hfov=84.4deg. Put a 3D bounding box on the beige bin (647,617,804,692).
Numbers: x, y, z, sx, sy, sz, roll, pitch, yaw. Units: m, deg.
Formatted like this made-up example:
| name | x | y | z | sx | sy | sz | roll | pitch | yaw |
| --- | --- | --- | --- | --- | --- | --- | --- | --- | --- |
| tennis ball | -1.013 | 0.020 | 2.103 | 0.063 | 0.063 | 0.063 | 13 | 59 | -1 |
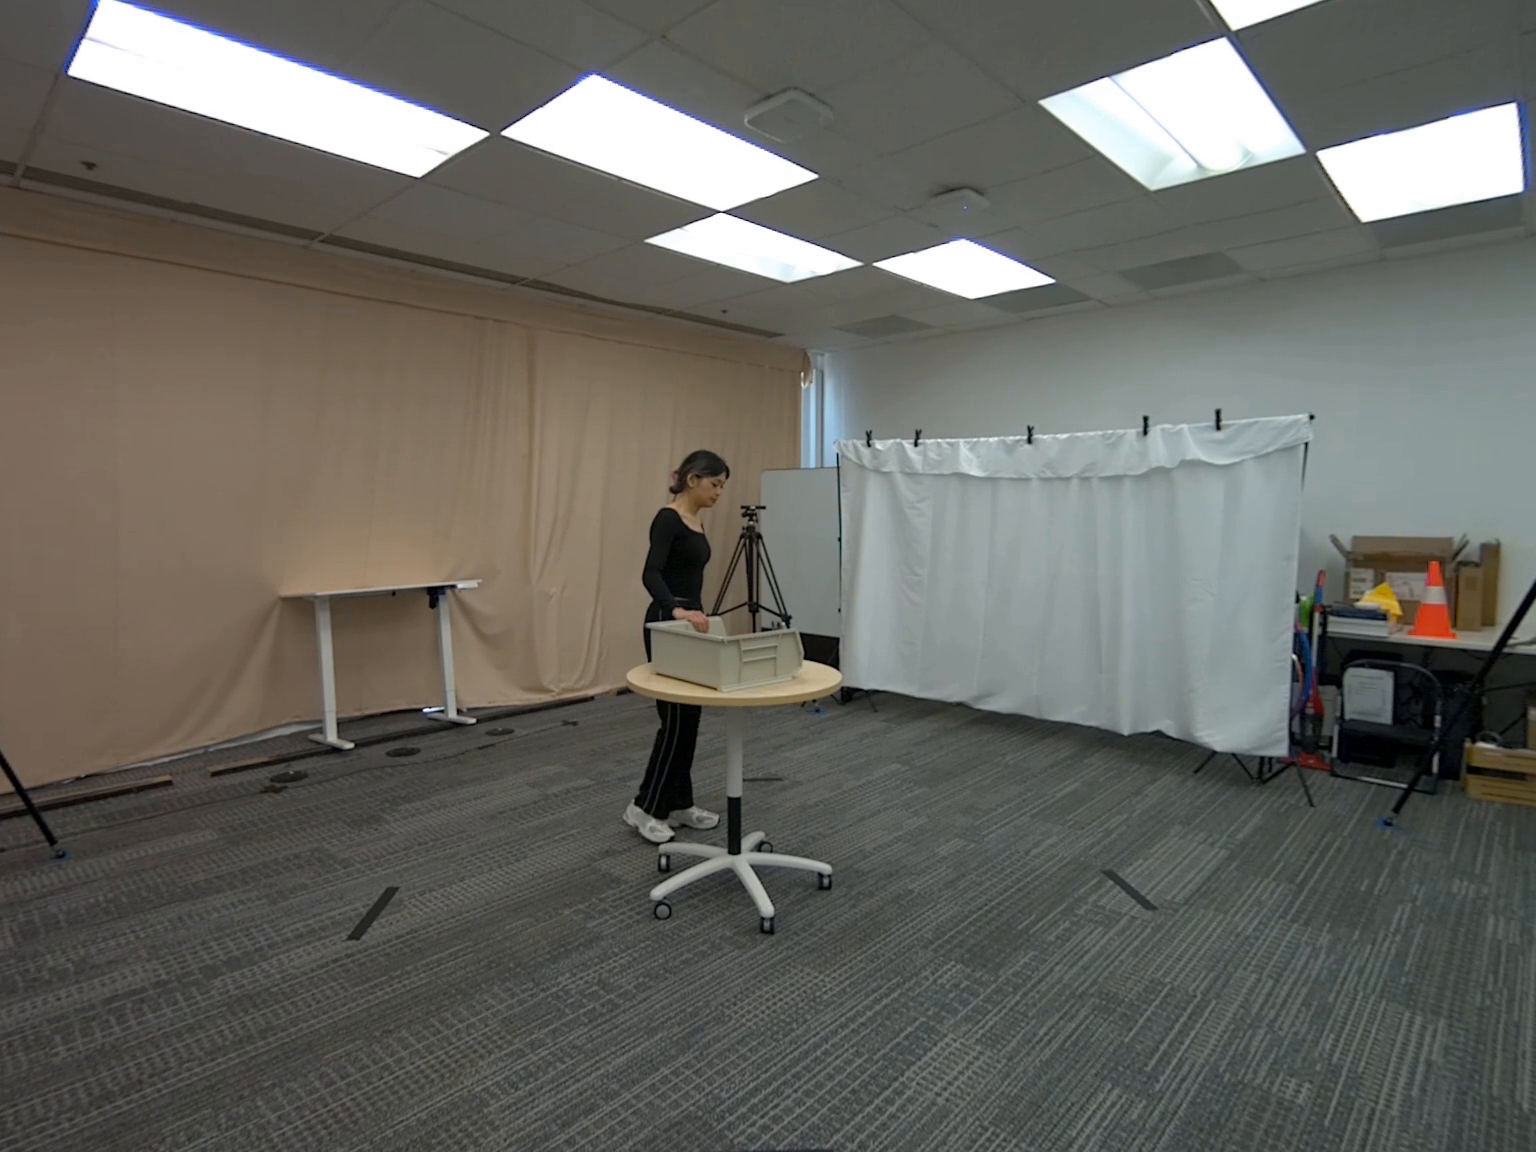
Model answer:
| name | x | y | z | sx | sy | sz | roll | pitch | yaw |
| --- | --- | --- | --- | --- | --- | --- | --- | --- | --- |
| beige bin | -0.154 | 0.264 | 2.964 | 0.366 | 0.188 | 0.437 | -6 | 8 | -42 |
